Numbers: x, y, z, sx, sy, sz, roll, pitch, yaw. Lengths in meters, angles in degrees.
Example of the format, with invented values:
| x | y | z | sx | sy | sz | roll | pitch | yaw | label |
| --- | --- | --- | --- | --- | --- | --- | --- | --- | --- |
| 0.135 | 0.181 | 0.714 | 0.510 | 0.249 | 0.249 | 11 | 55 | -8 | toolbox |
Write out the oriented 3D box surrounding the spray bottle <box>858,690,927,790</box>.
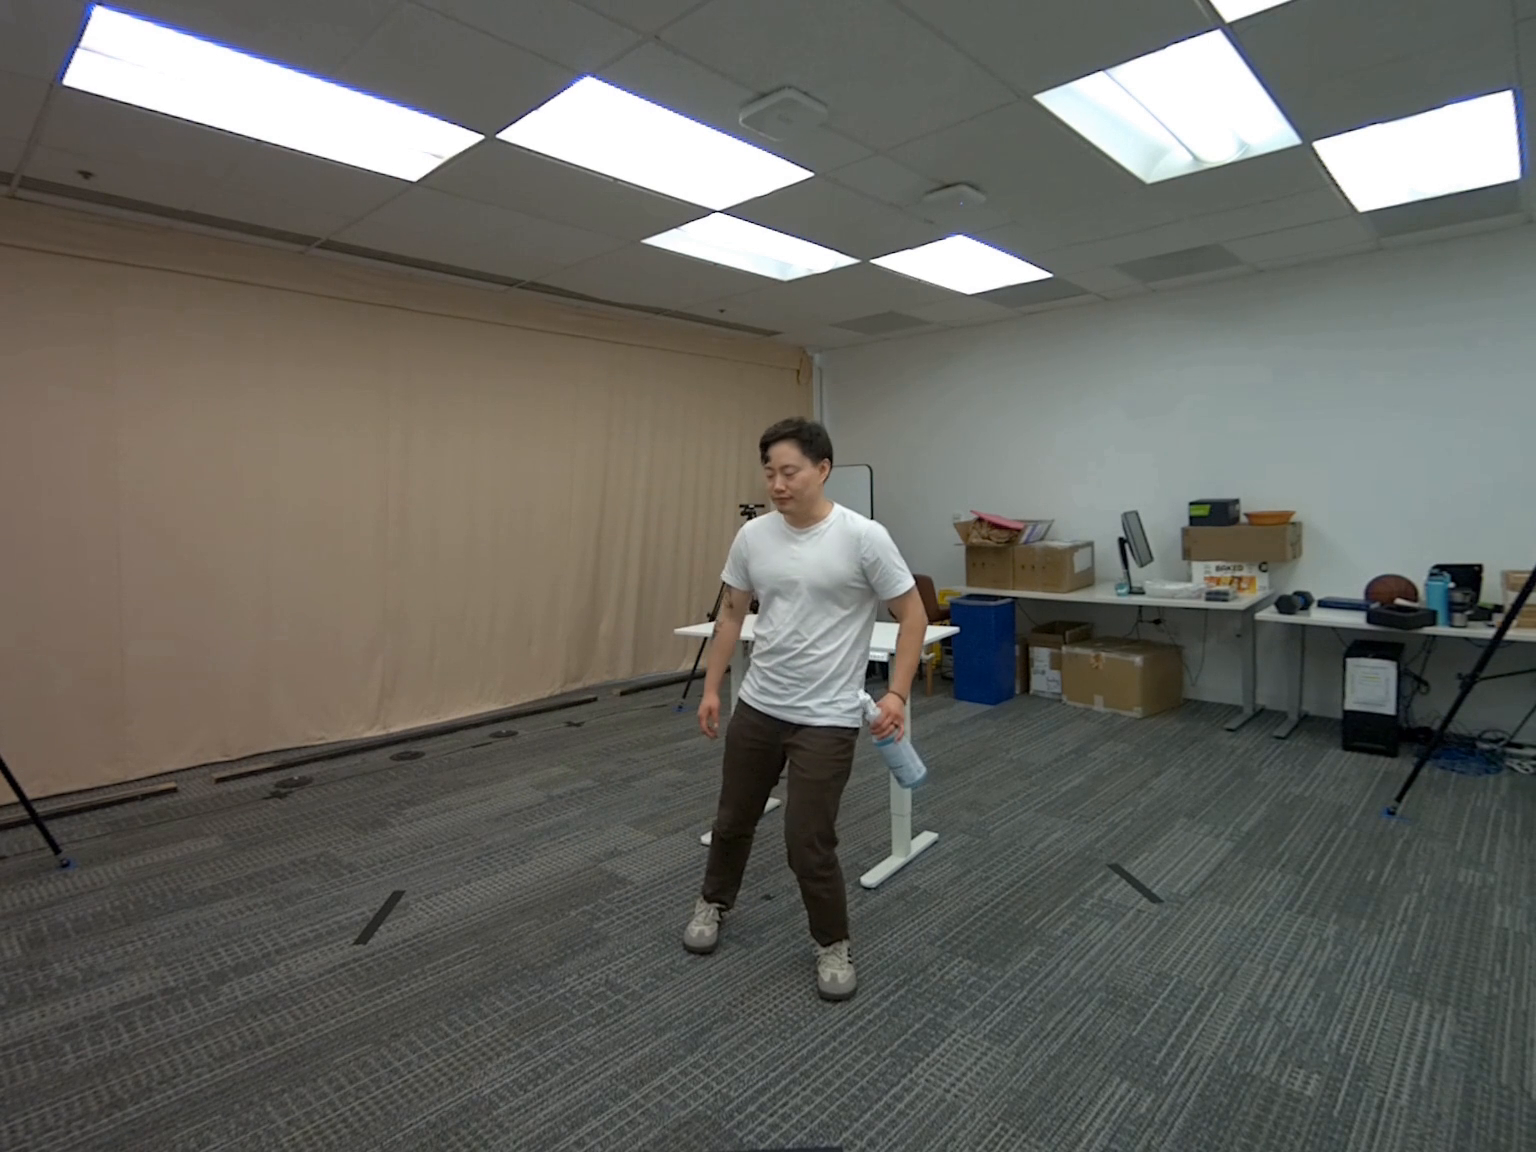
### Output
| x | y | z | sx | sy | sz | roll | pitch | yaw | label |
| --- | --- | --- | --- | --- | --- | --- | --- | --- | --- |
| 0.311 | 0.424 | 2.274 | 0.089 | 0.293 | 0.089 | -21 | 15 | 31 | spray bottle |
